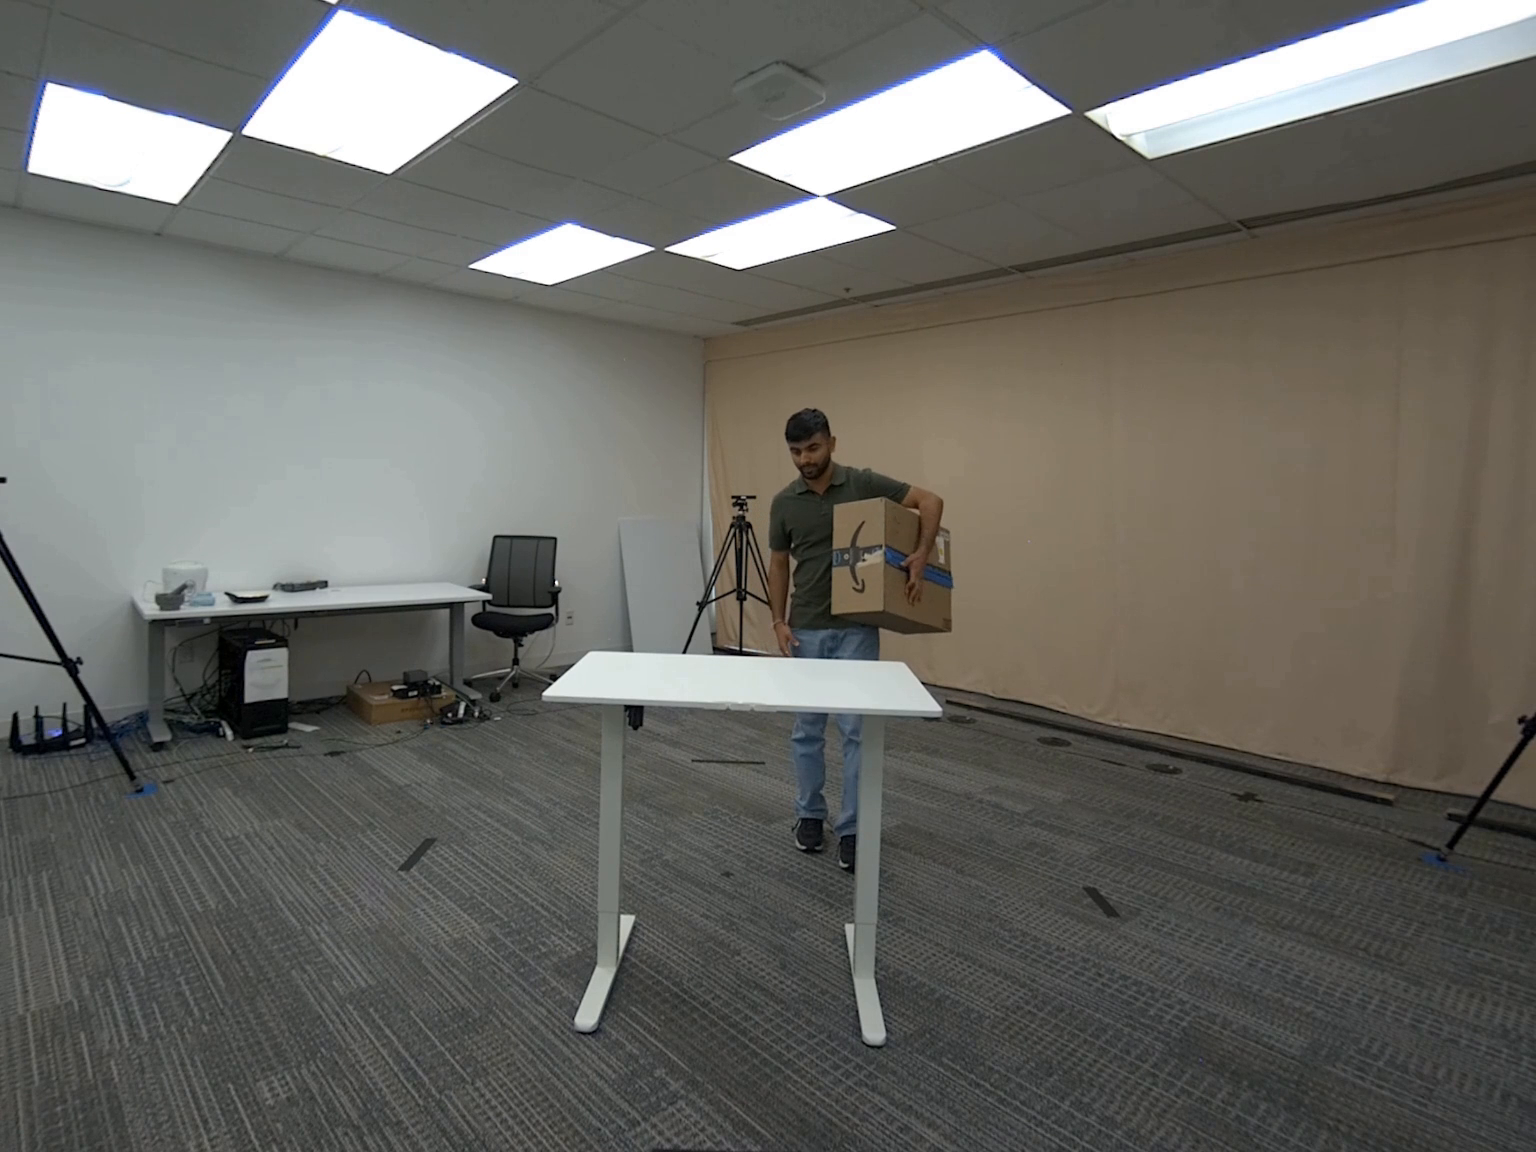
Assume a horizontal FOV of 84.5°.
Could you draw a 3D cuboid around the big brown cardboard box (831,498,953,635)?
[{"bbox_3d":[0.483,-0.016,3.238,0.238,0.421,0.572,-7,-16,36],"label":"big brown cardboard box"}]
